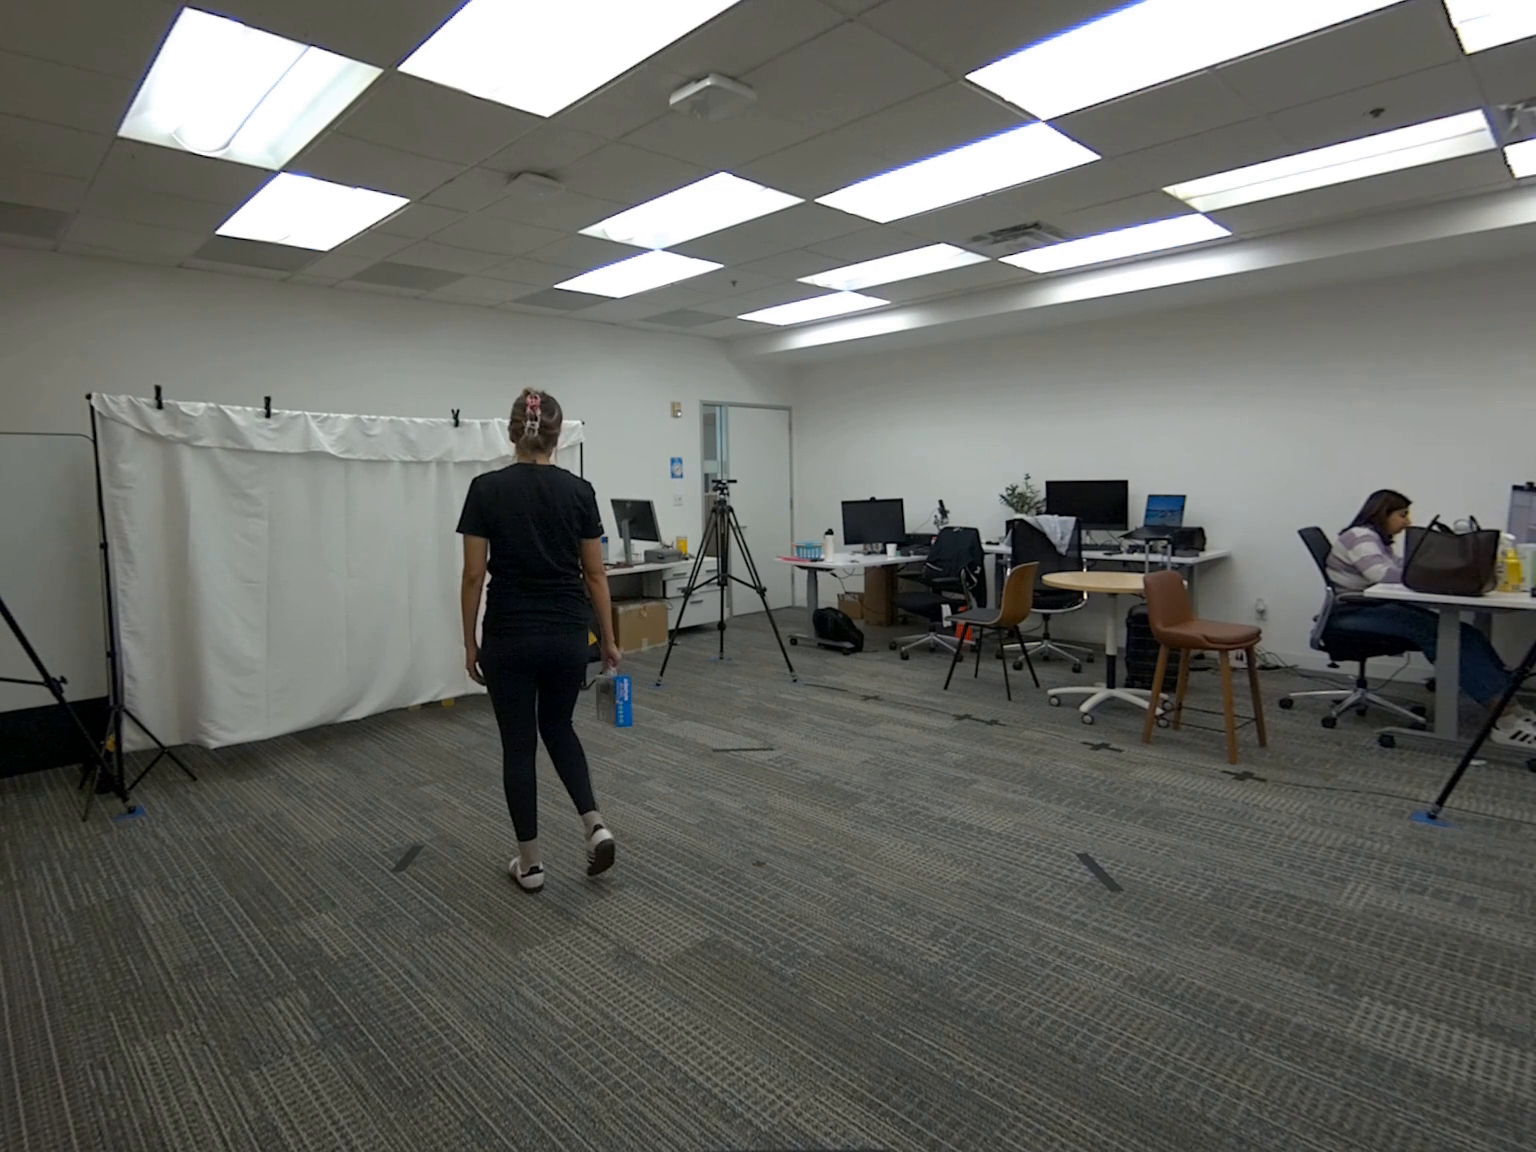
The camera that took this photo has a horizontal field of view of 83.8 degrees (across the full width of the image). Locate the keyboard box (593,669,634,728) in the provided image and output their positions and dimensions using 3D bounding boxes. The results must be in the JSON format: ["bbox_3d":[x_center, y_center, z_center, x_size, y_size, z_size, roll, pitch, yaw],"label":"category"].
[{"bbox_3d":[-0.563,0.448,3.126,0.058,0.177,0.441,1,-6,-19],"label":"keyboard box"}]
